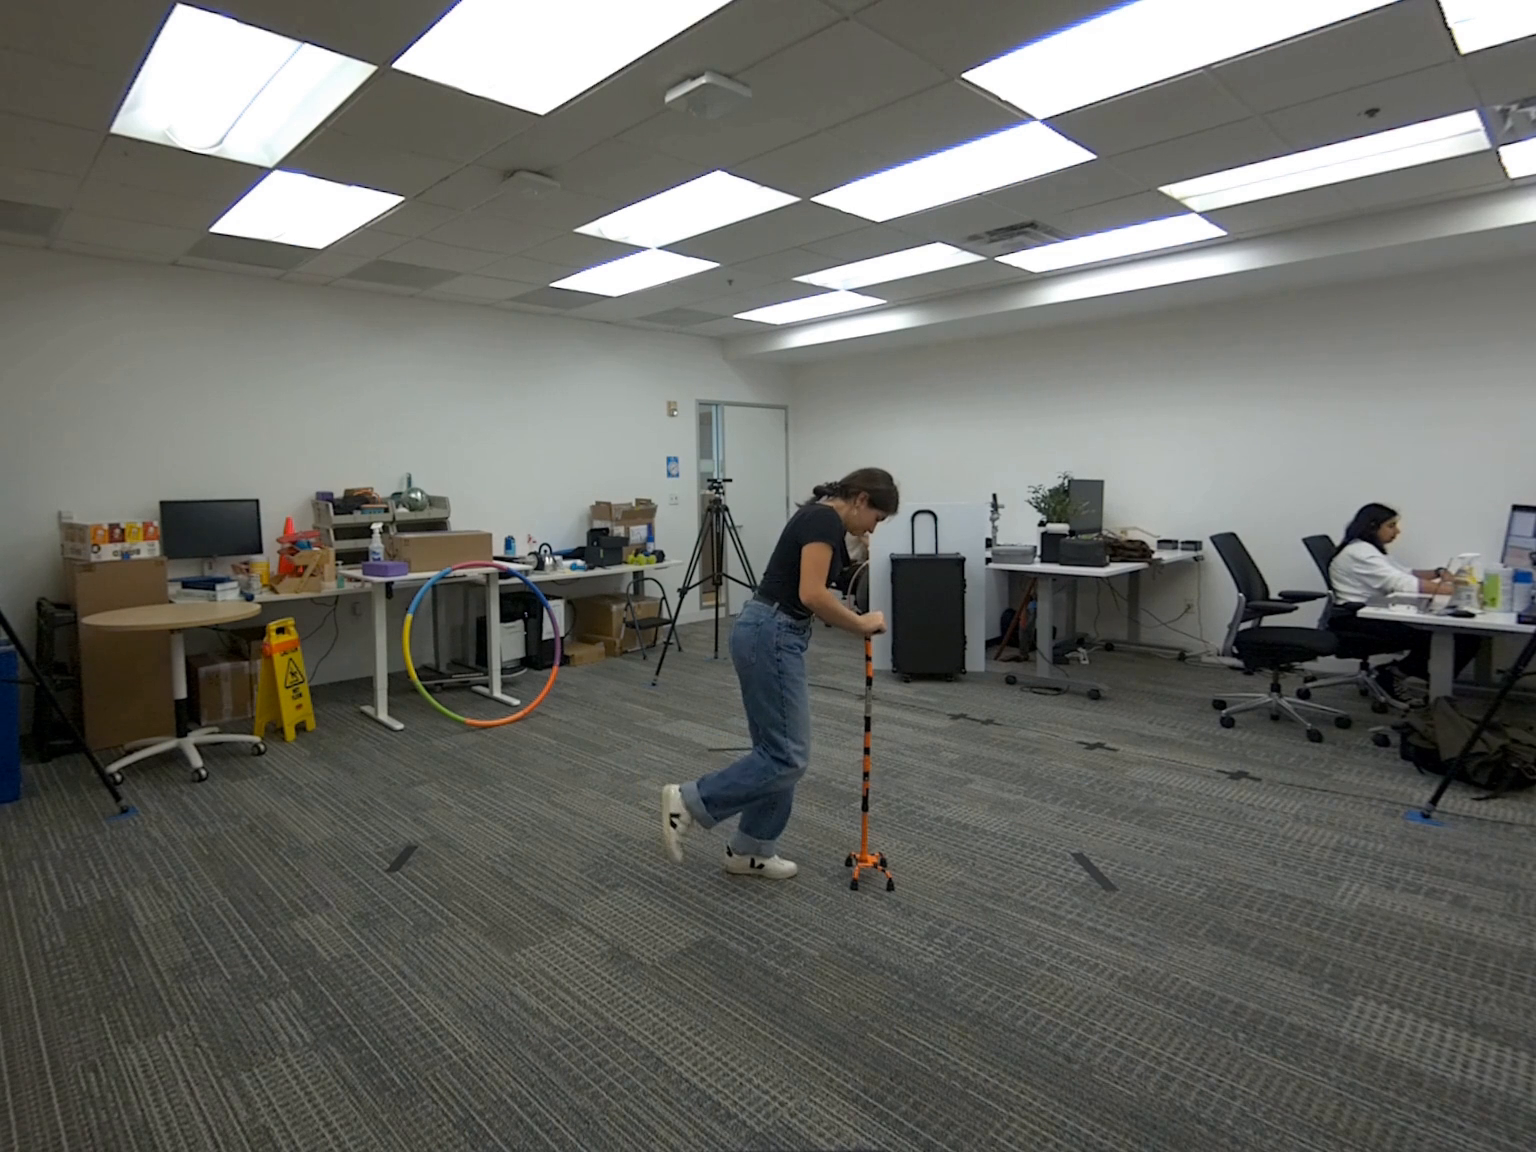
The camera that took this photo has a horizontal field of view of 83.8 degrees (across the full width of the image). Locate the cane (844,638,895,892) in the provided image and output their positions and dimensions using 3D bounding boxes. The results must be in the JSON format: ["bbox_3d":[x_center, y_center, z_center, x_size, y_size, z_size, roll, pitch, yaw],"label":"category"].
[{"bbox_3d":[0.359,0.592,2.957,0.152,0.906,0.206,1,3,1],"label":"cane"}]
